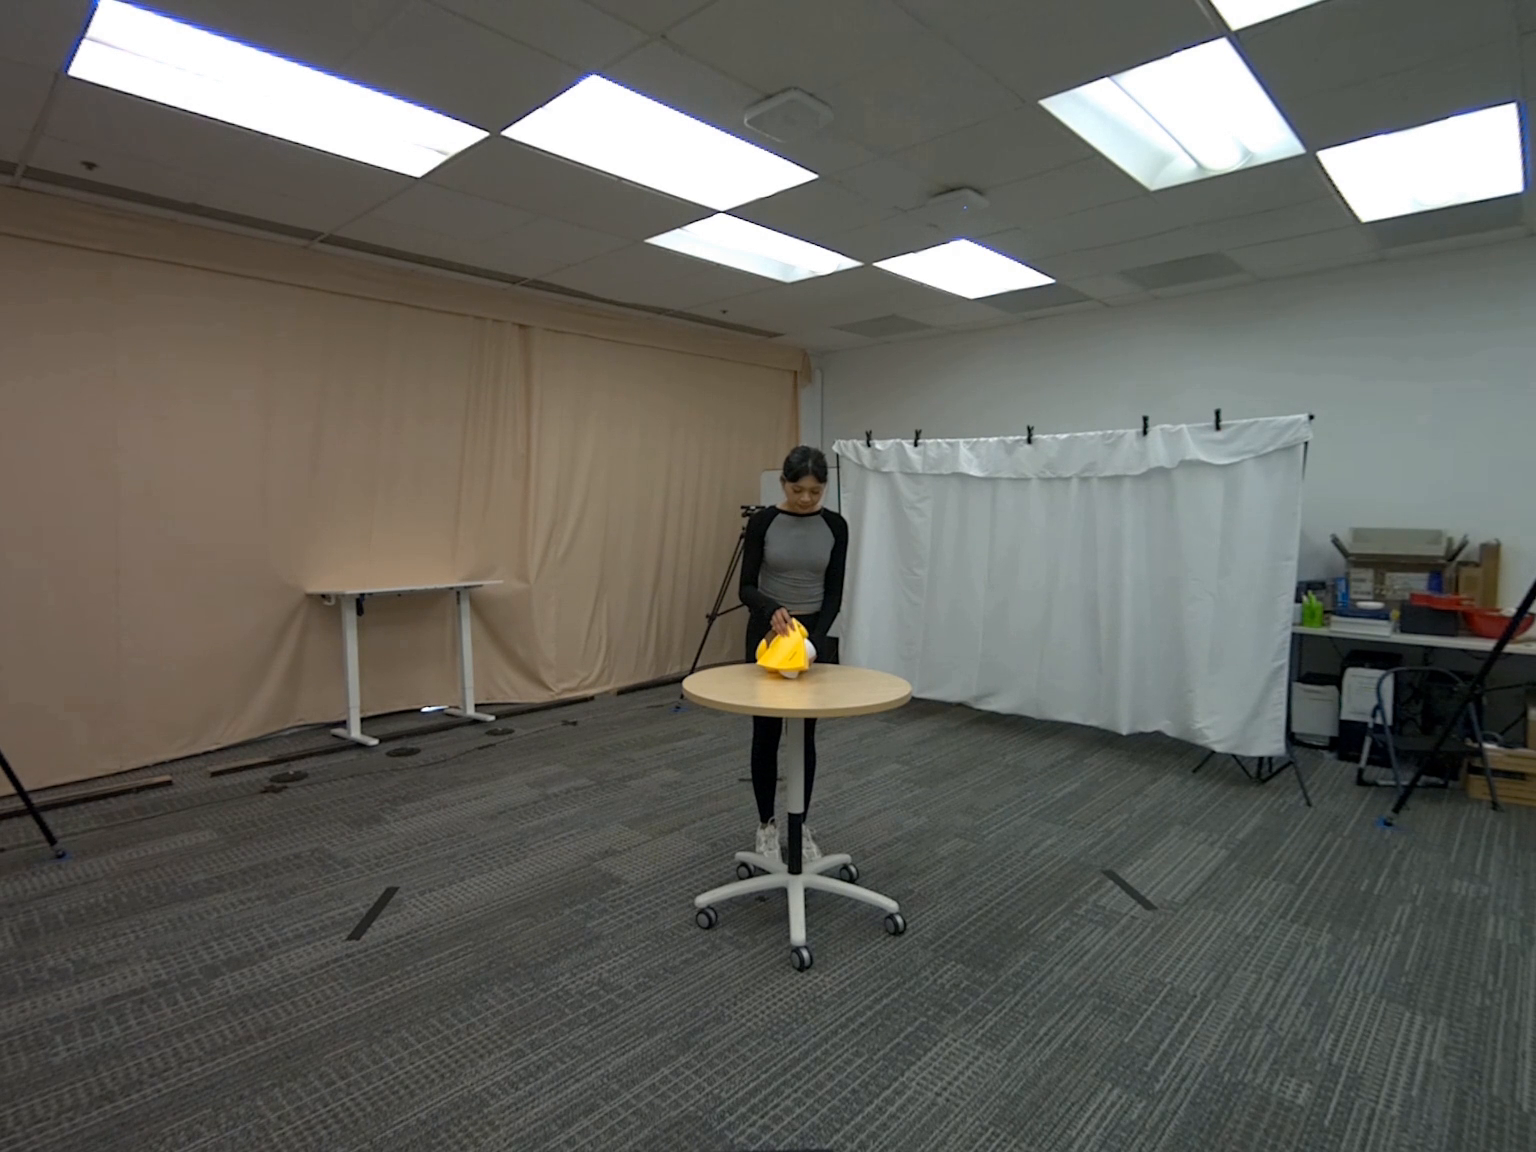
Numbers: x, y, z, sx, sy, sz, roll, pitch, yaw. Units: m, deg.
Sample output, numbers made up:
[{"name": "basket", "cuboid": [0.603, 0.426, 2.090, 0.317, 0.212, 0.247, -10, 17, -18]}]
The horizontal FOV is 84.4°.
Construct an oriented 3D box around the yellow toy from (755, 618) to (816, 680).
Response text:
[{"name": "yellow toy", "cuboid": [0.096, 0.285, 2.944, 0.186, 0.205, 0.239, 38, 1, -37]}]
